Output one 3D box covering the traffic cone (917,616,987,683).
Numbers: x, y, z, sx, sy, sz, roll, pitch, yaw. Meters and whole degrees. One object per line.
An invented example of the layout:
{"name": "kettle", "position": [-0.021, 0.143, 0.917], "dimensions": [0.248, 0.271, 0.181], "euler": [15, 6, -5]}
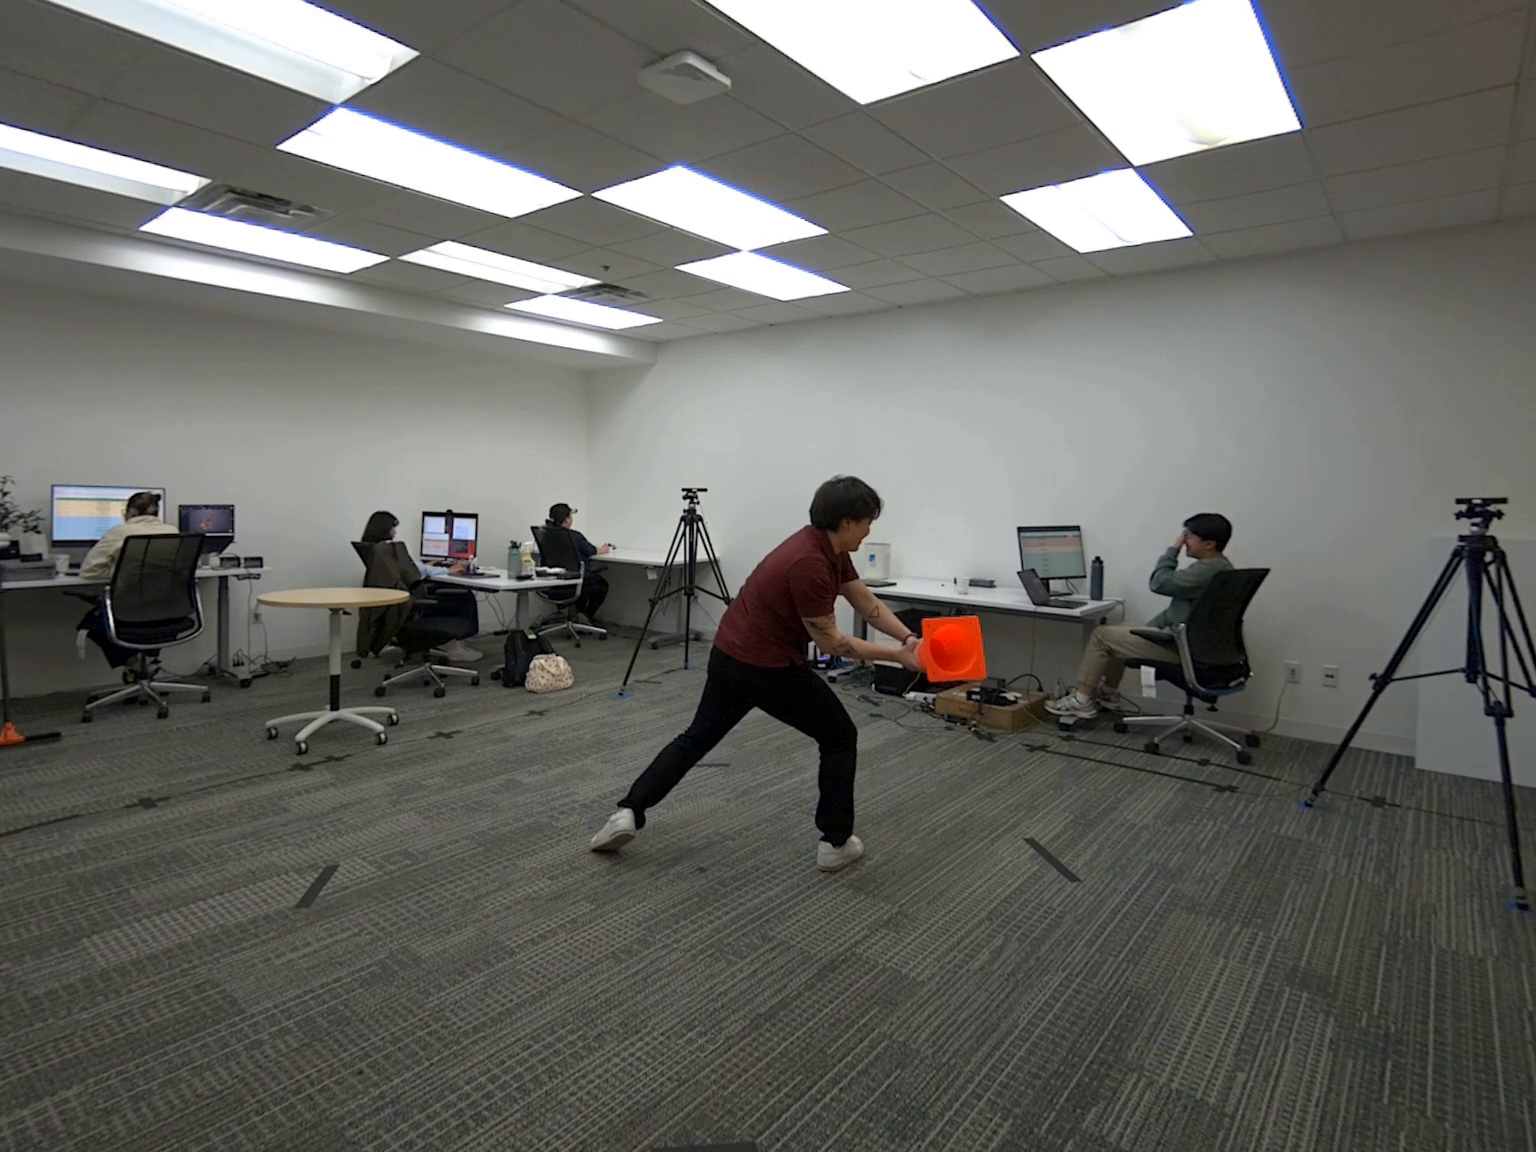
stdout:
{"name": "traffic cone", "position": [0.537, 0.257, 2.887], "dimensions": [0.200, 0.207, 0.385], "euler": [3, -9, -14]}
